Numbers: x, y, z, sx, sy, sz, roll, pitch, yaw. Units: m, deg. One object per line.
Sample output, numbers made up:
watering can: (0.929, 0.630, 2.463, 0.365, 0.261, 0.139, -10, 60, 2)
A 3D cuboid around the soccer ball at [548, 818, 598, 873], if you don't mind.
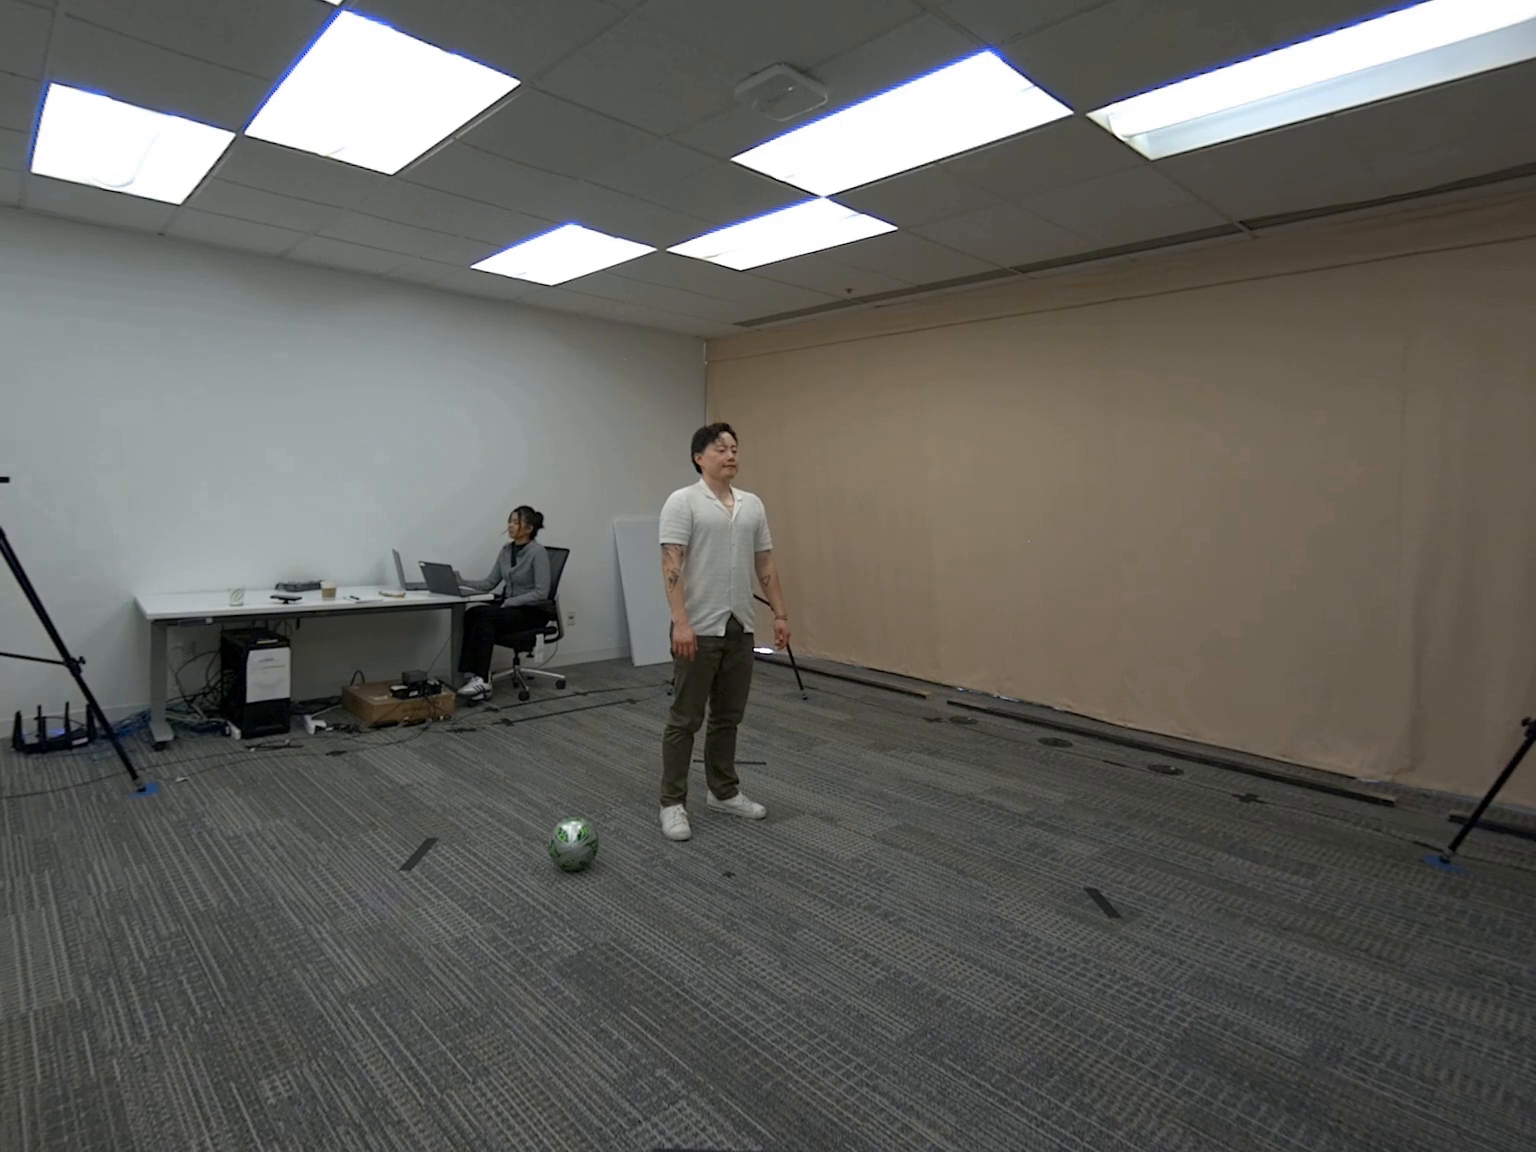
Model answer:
soccer ball: (-0.730, 0.994, 3.119, 0.187, 0.187, 0.188, 1, 4, -1)
